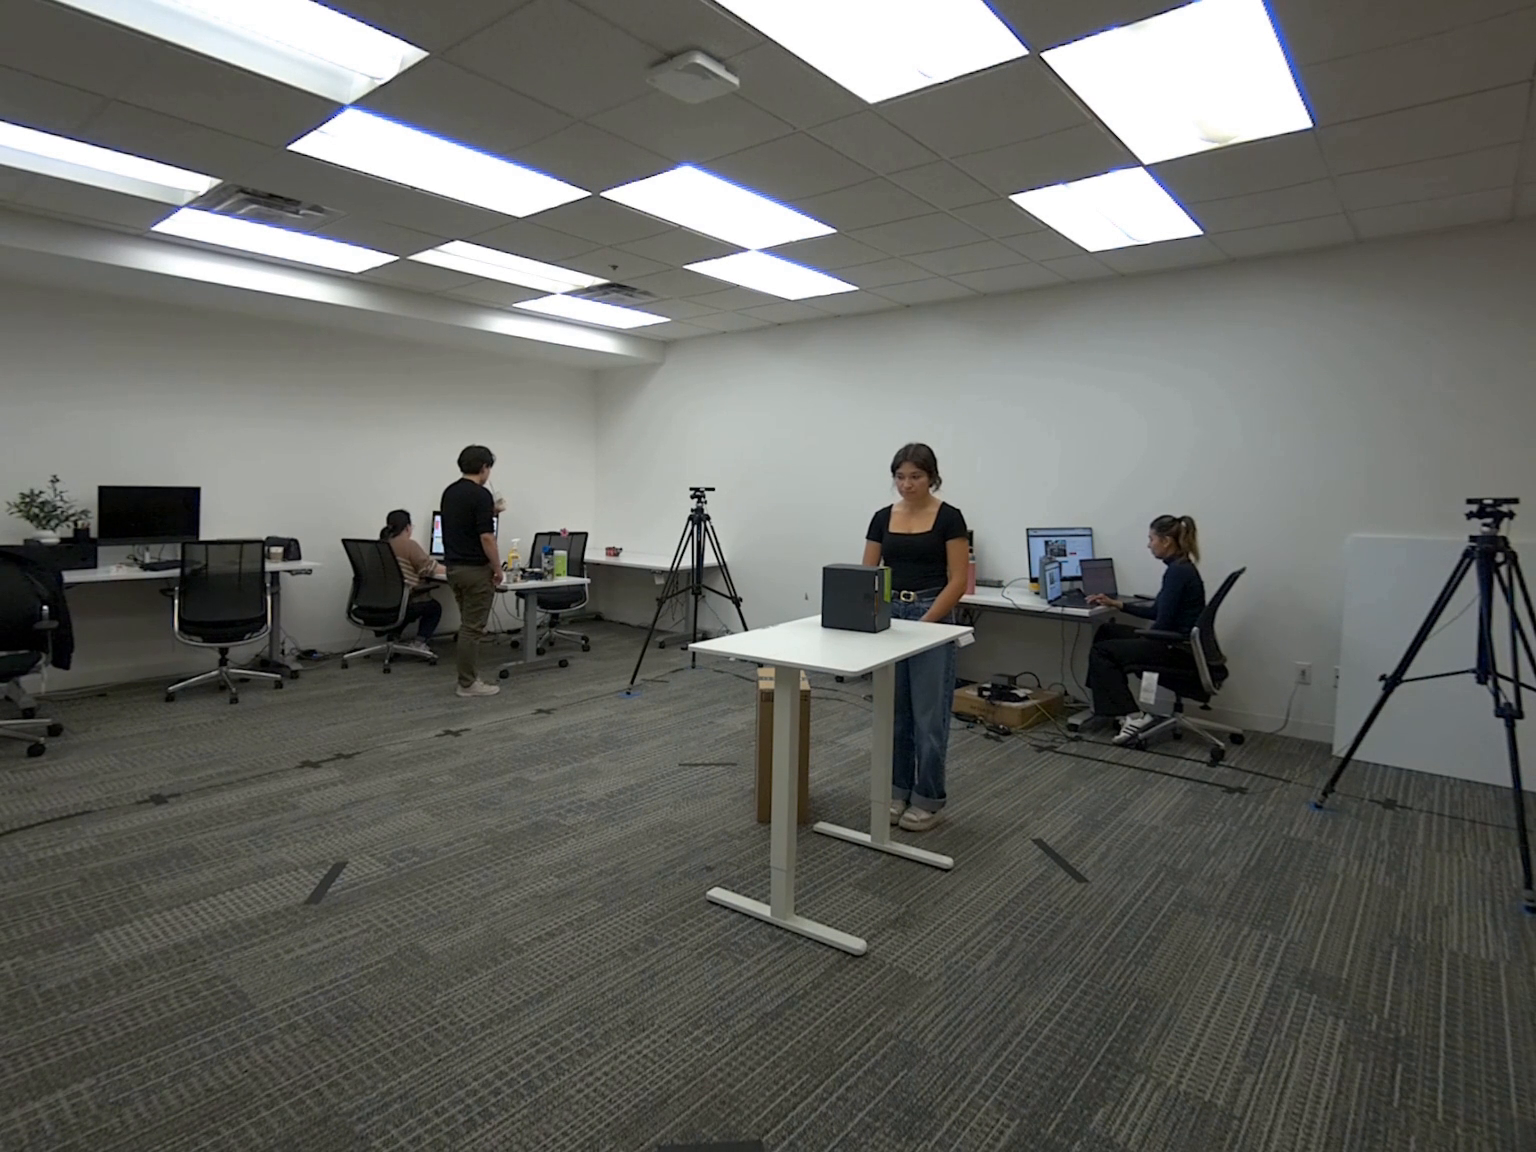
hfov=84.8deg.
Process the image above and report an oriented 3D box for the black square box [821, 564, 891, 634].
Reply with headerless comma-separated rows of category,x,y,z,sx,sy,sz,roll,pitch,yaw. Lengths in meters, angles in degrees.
black square box,0.322,0.077,3.133,0.223,0.227,0.152,4,4,30
